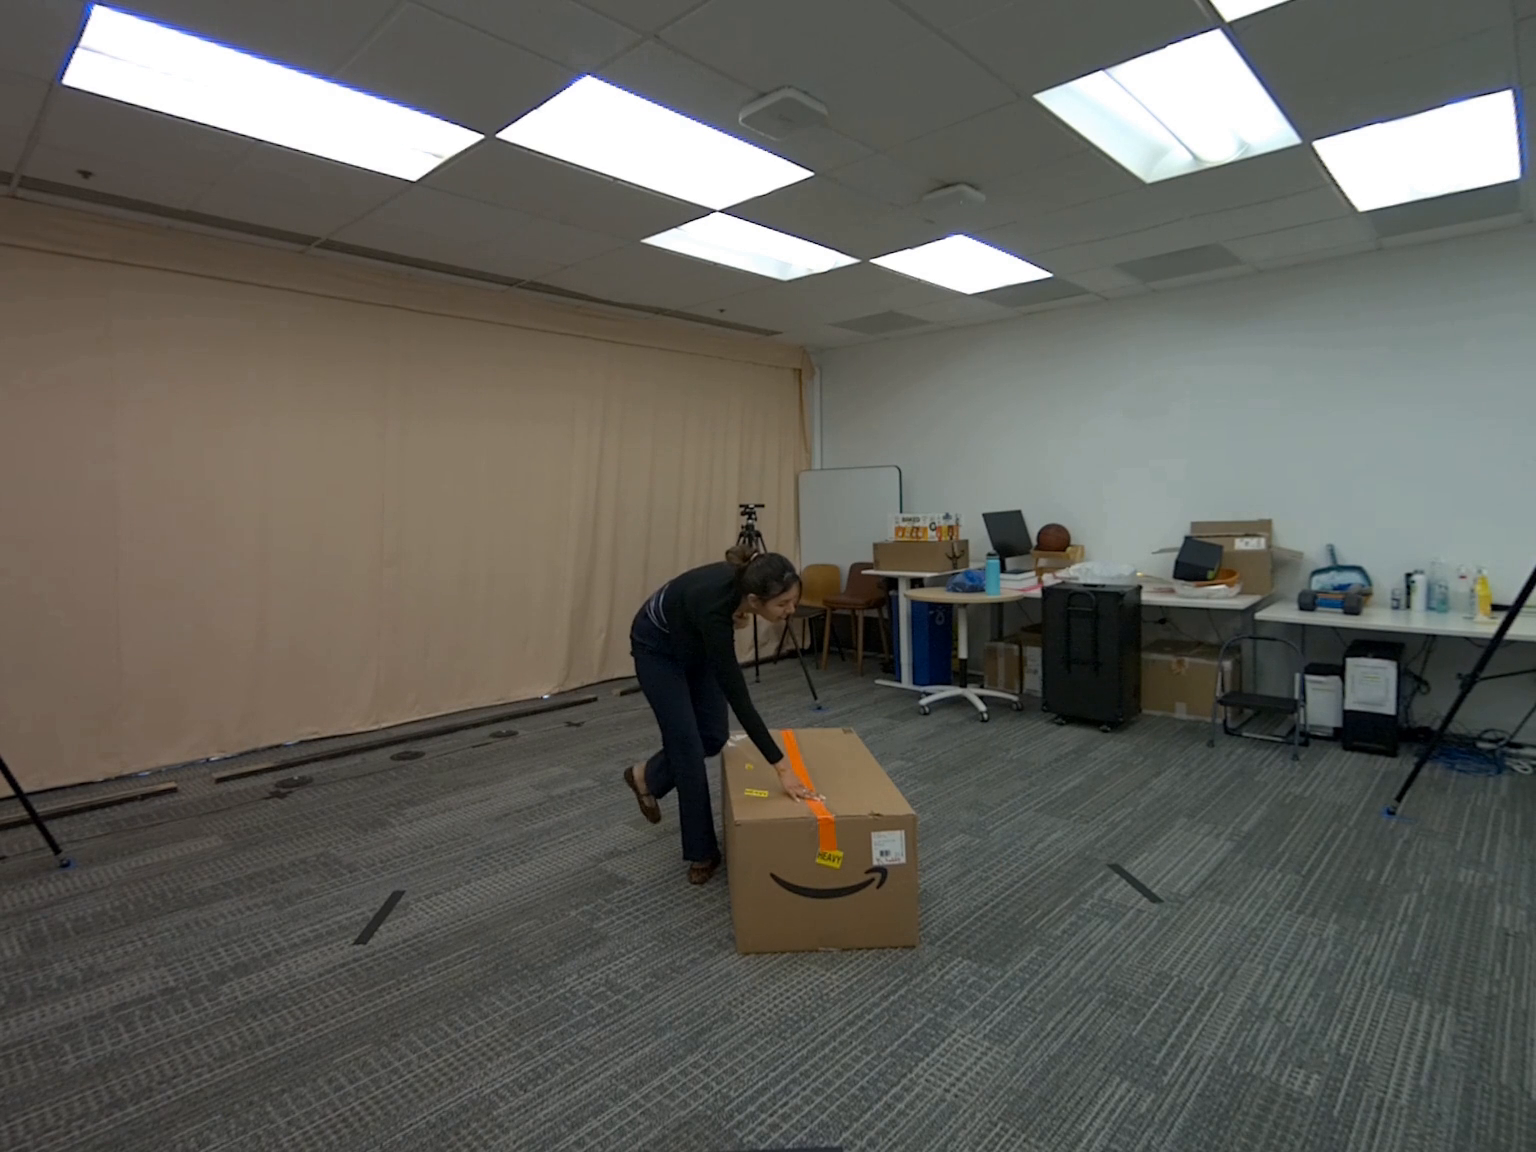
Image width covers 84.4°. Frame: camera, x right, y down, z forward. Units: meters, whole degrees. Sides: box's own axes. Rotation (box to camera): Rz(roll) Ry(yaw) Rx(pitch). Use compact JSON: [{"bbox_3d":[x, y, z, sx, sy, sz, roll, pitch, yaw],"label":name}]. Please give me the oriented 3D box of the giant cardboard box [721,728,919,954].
[{"bbox_3d":[0.140,0.911,3.116,0.575,0.425,1.033,-2,5,-5],"label":"giant cardboard box"}]
